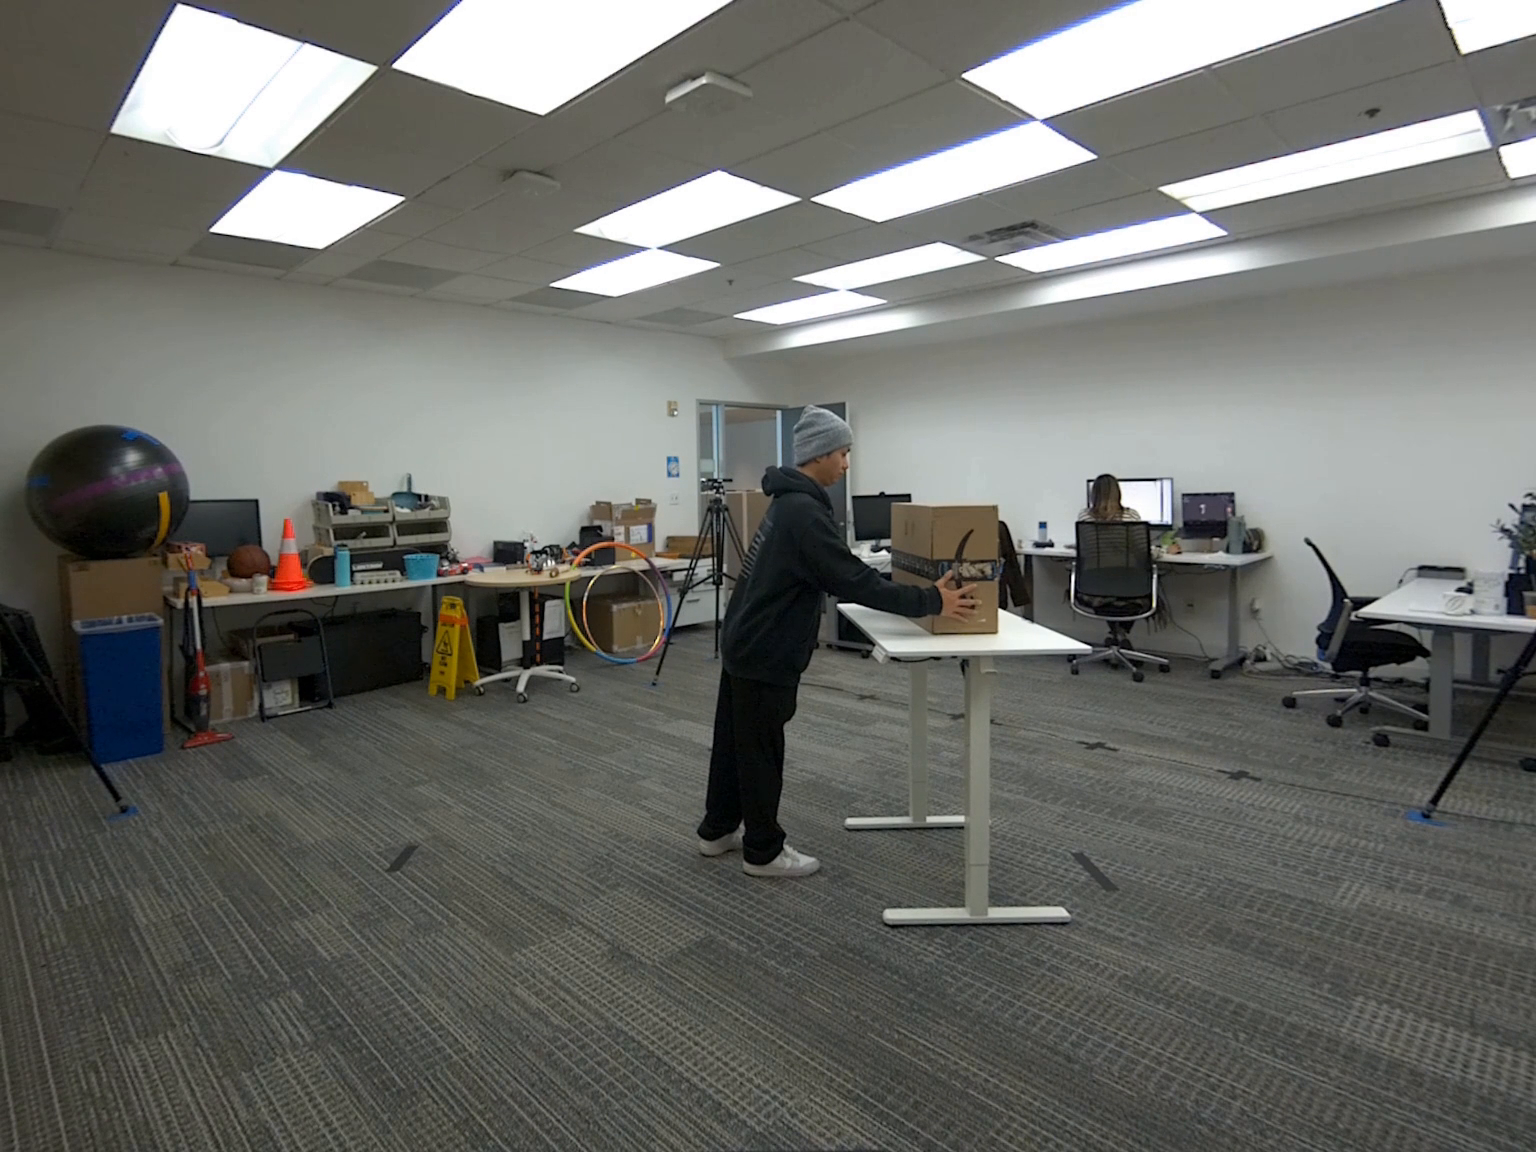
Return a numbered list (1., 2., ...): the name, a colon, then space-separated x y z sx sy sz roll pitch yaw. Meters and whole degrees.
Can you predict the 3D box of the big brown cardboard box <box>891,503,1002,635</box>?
1. big brown cardboard box: 0.609 -0.048 3.018 0.232 0.416 0.594 -1 5 -5
